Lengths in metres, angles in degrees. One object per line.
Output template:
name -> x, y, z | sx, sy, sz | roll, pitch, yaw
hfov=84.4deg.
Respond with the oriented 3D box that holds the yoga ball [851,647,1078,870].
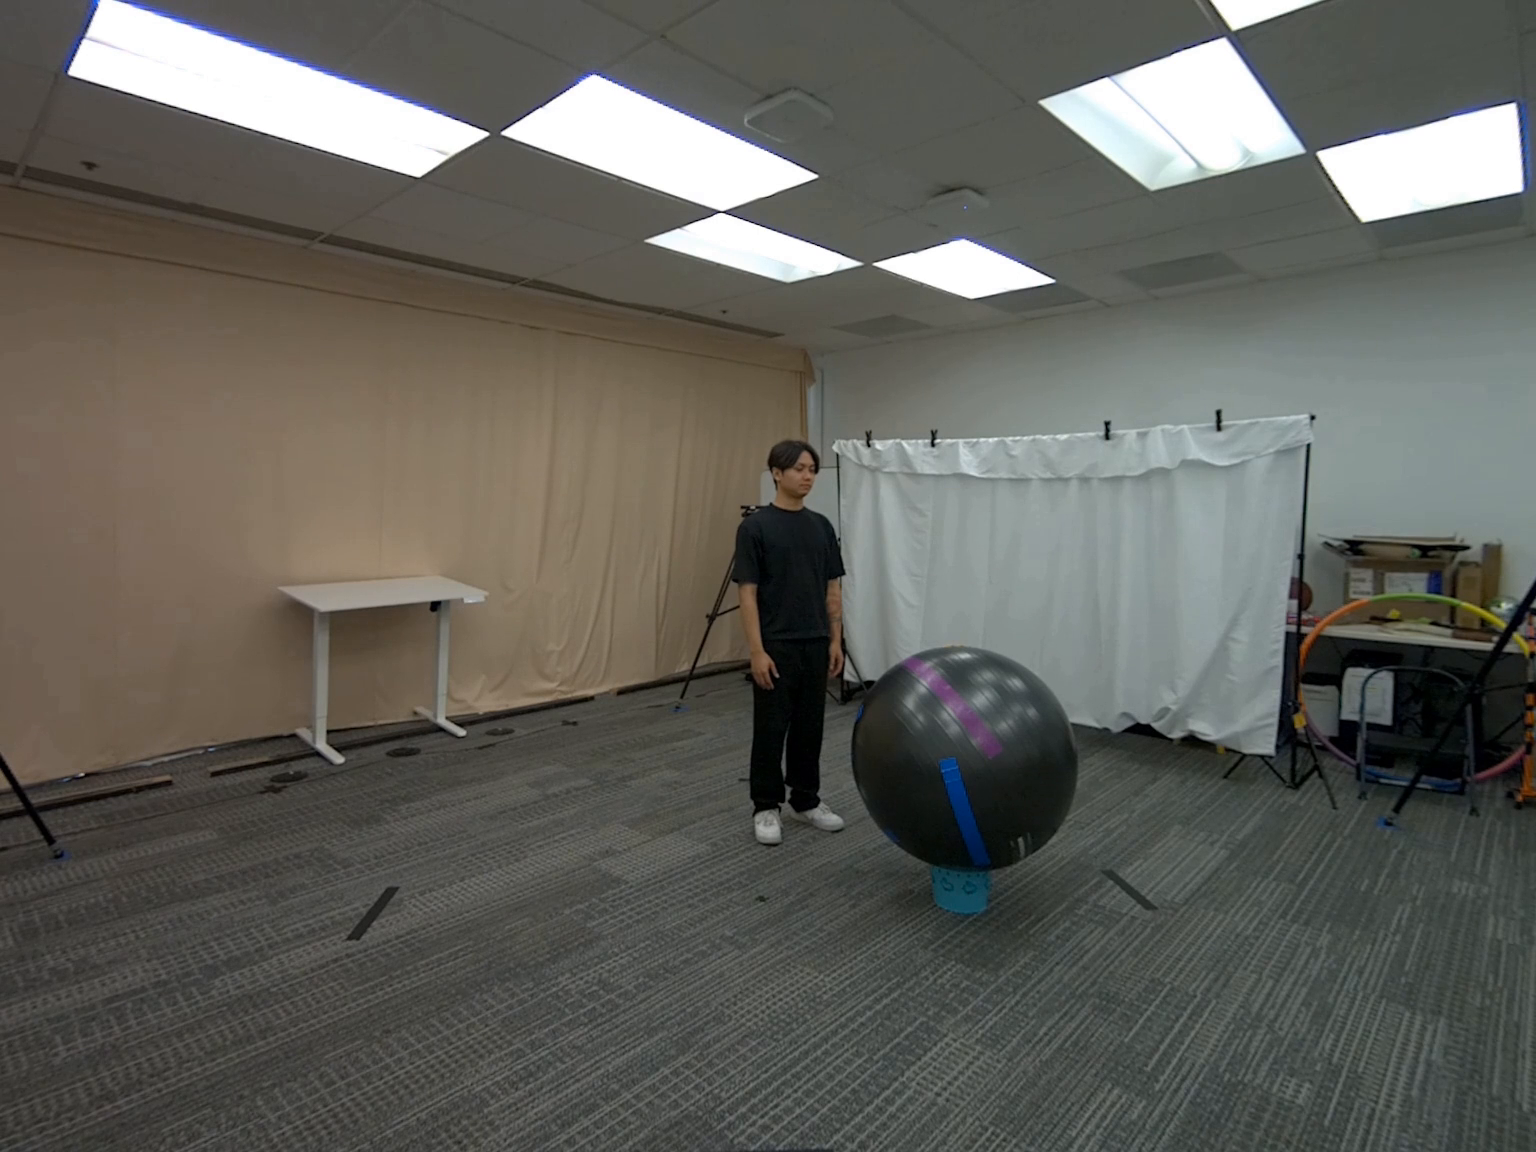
yoga ball -> 0.680, 0.635, 2.945 | 0.757, 0.756, 0.760 | 0, 4, -2
